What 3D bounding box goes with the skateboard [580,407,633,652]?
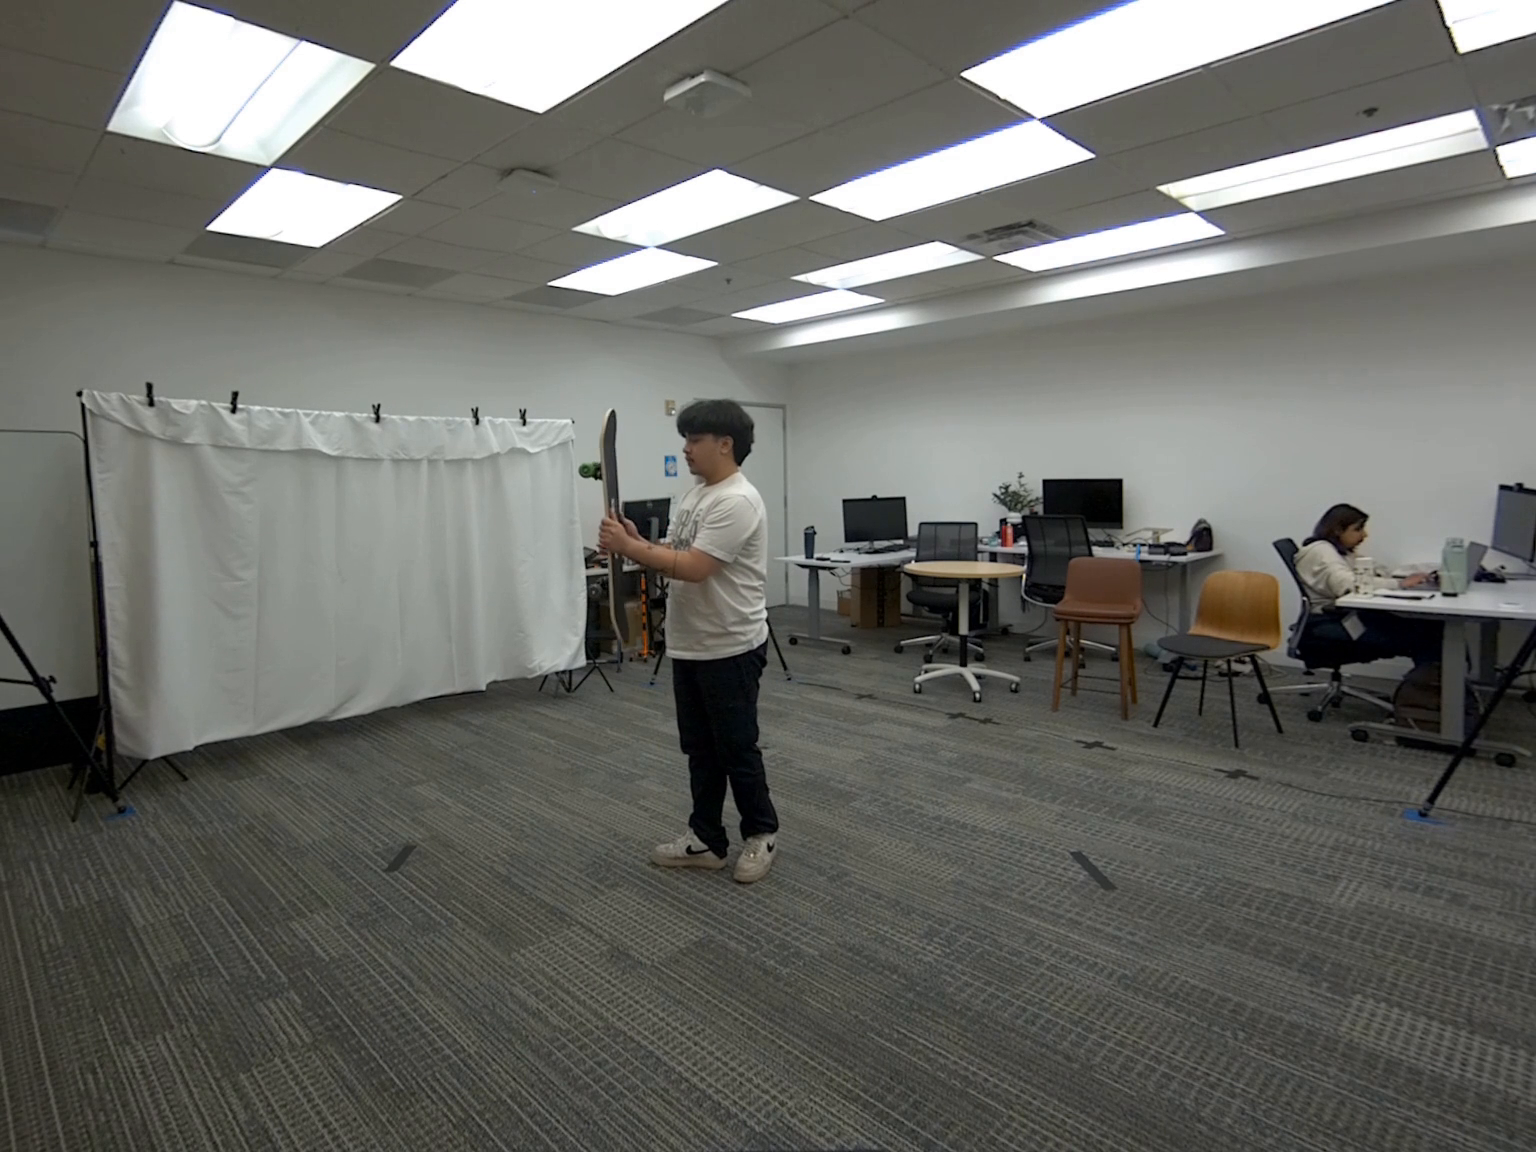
[{"bbox_3d":[-0.537,-0.158,2.853,0.111,0.782,0.193,0,4,5],"label":"skateboard"}]
